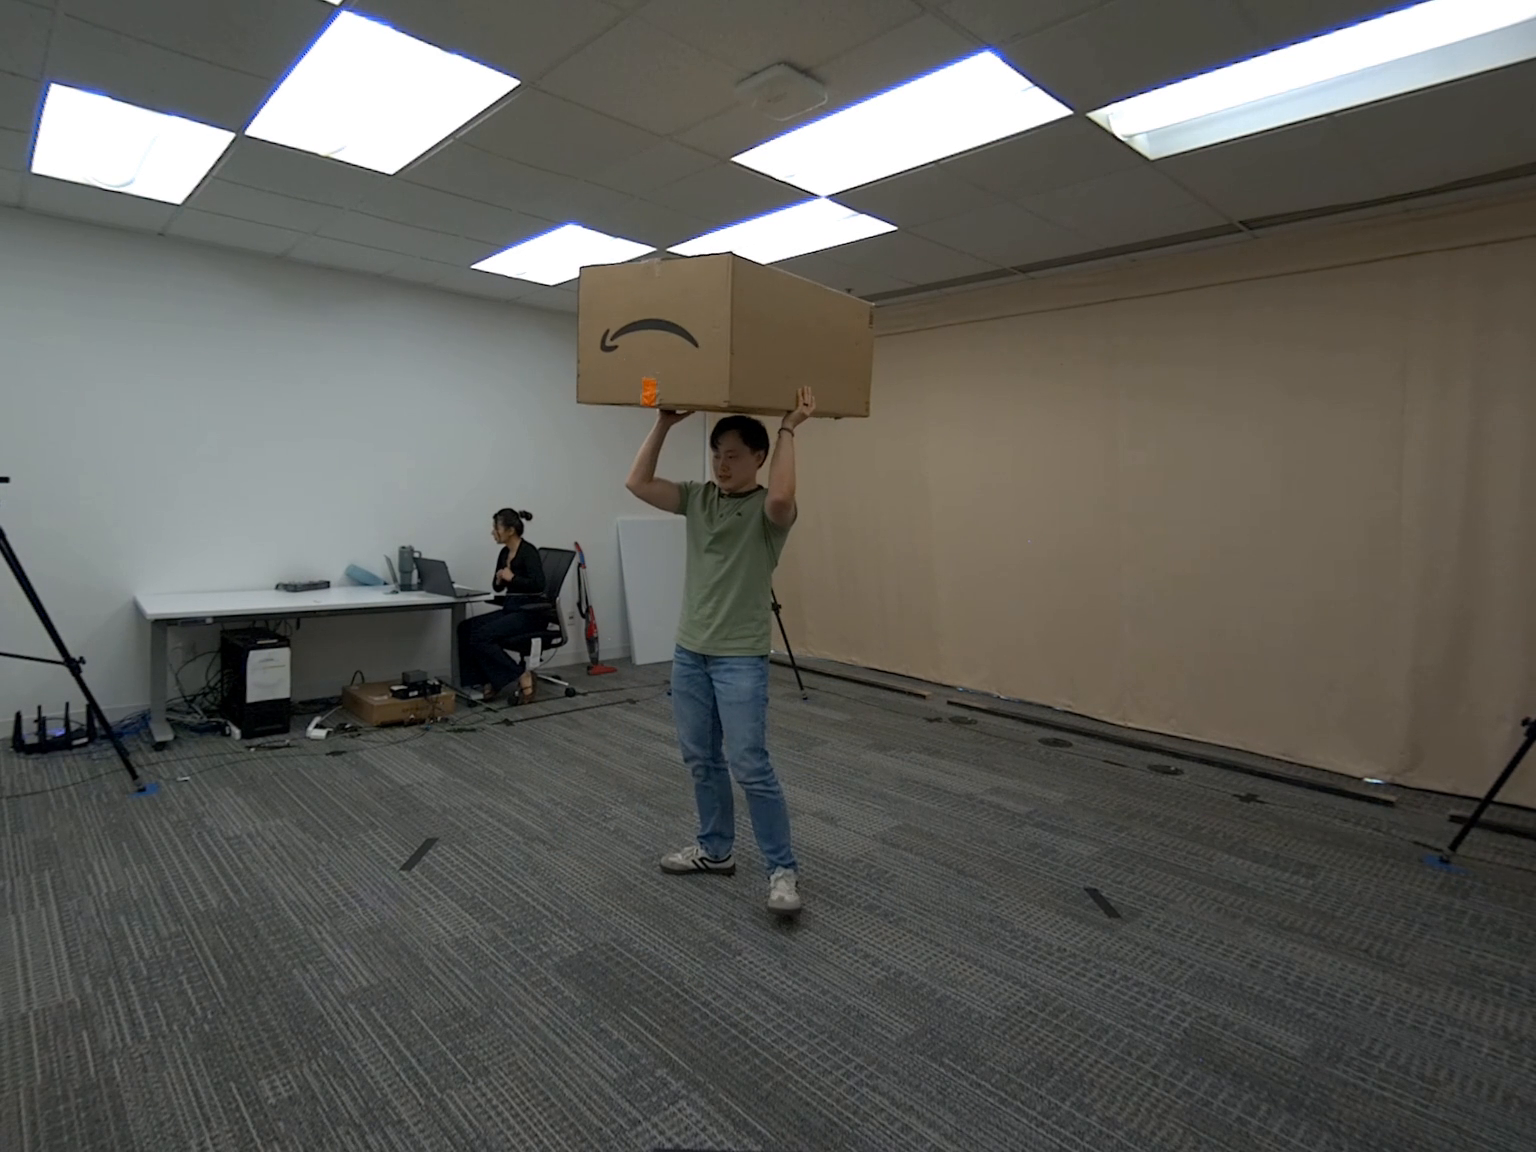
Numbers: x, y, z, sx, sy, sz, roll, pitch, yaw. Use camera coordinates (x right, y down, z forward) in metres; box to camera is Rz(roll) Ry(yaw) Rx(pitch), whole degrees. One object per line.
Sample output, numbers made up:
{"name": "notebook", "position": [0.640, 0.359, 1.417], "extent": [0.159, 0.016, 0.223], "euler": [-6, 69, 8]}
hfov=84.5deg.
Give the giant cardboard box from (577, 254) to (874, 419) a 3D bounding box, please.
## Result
{"name": "giant cardboard box", "position": [-0.102, -0.775, 2.911], "extent": [0.591, 0.423, 1.008], "euler": [8, 11, 30]}
